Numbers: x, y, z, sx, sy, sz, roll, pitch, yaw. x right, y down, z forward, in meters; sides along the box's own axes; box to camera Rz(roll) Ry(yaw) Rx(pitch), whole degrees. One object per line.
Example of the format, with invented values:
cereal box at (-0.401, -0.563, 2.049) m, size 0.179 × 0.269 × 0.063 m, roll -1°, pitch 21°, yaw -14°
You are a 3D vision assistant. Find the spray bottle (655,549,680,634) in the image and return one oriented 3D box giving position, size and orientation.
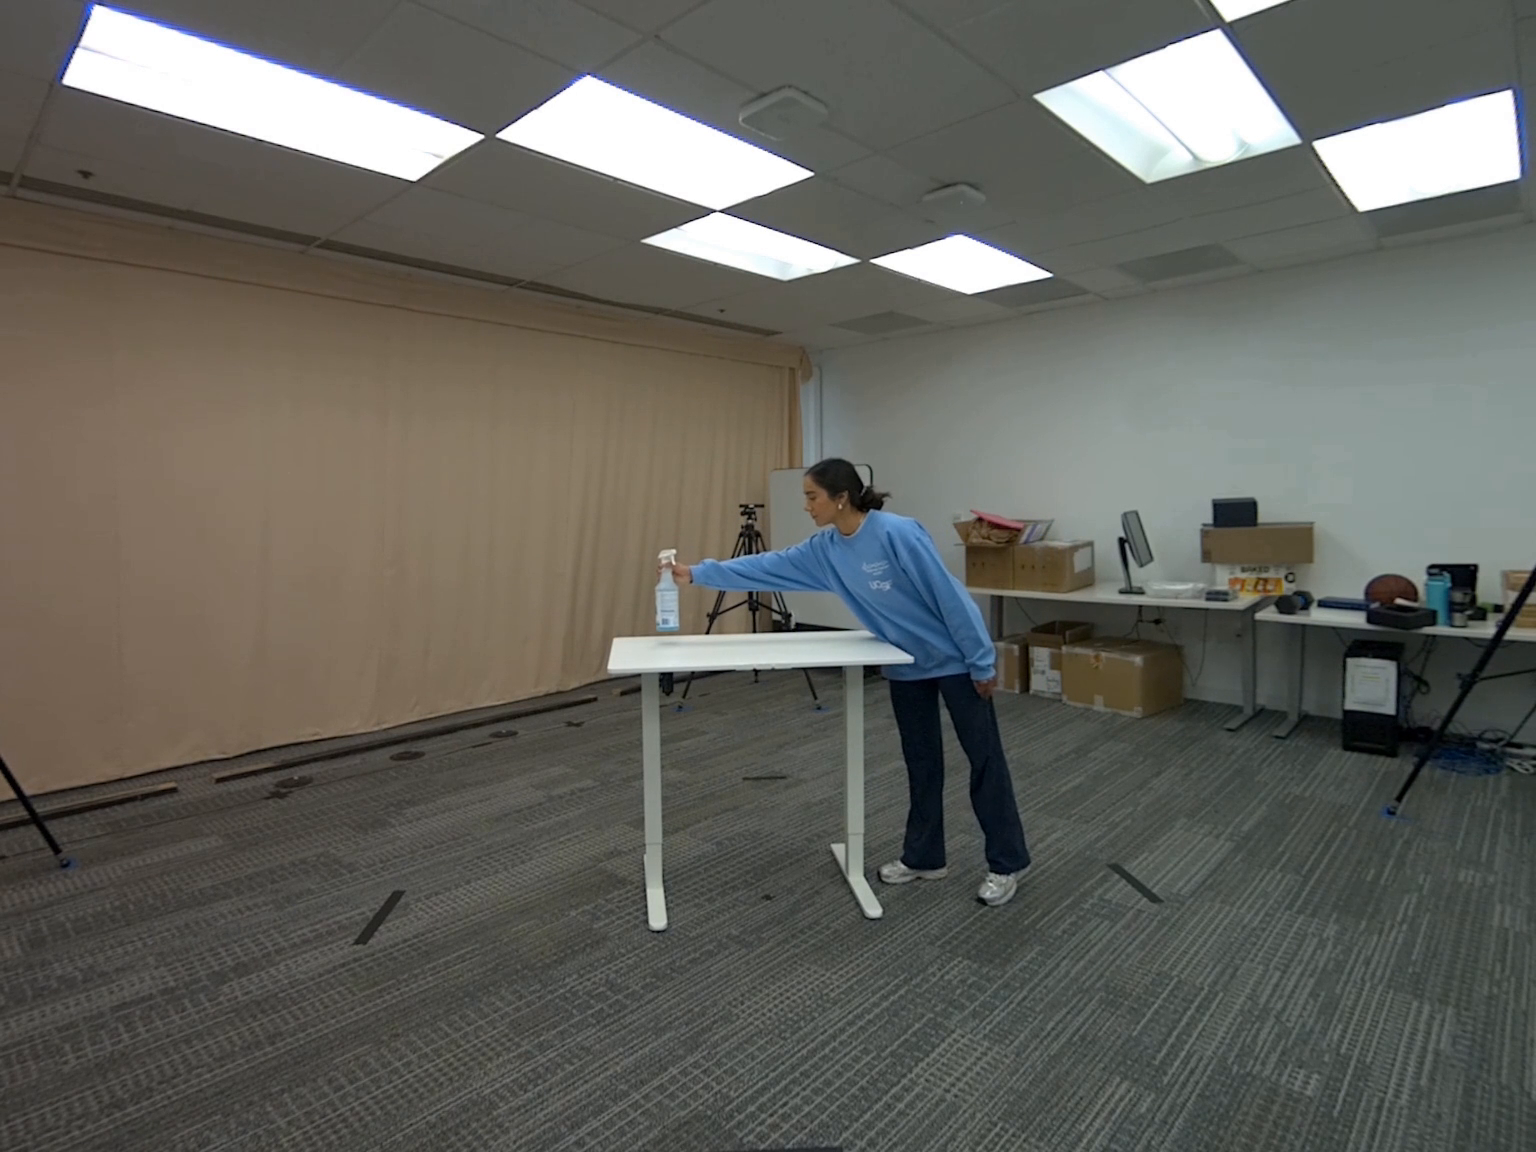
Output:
spray bottle at (-0.370, 0.053, 3.117) m, size 0.085 × 0.297 × 0.092 m, roll -2°, pitch 3°, yaw -21°
